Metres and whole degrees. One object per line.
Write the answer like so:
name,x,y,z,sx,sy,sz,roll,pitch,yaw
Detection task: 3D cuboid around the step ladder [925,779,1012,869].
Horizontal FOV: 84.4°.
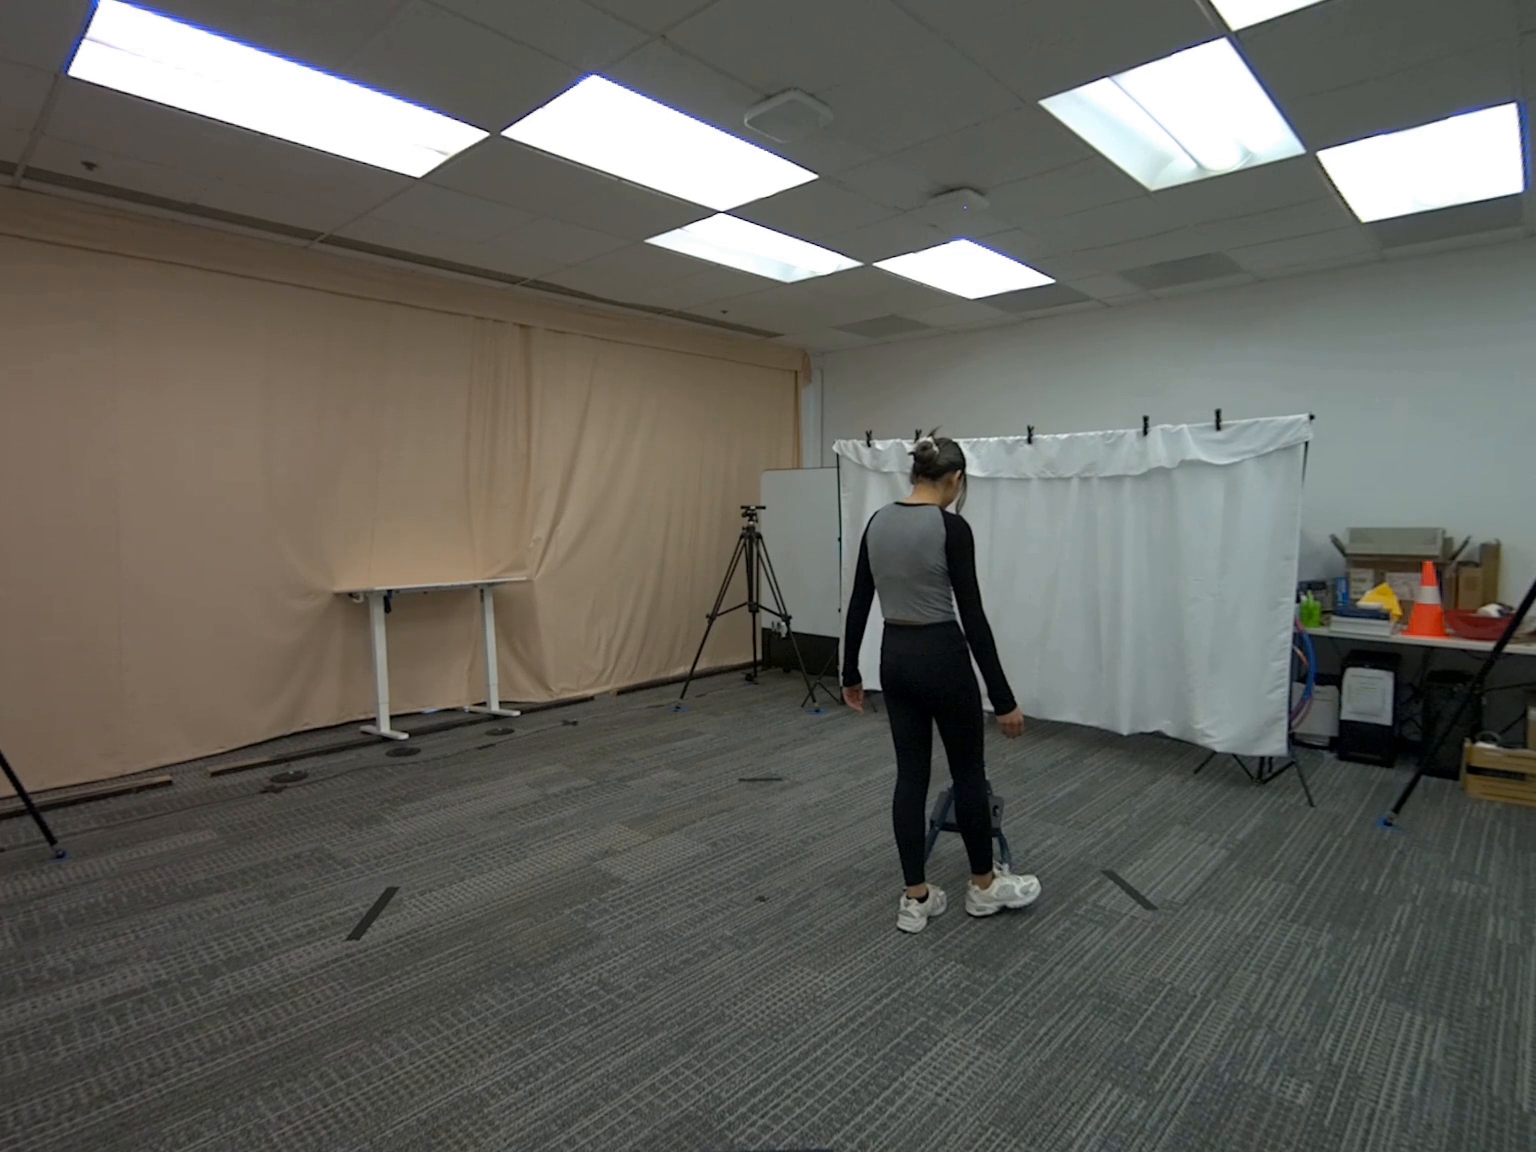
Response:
step ladder,0.727,0.828,3.166,0.357,0.605,0.422,1,3,19
